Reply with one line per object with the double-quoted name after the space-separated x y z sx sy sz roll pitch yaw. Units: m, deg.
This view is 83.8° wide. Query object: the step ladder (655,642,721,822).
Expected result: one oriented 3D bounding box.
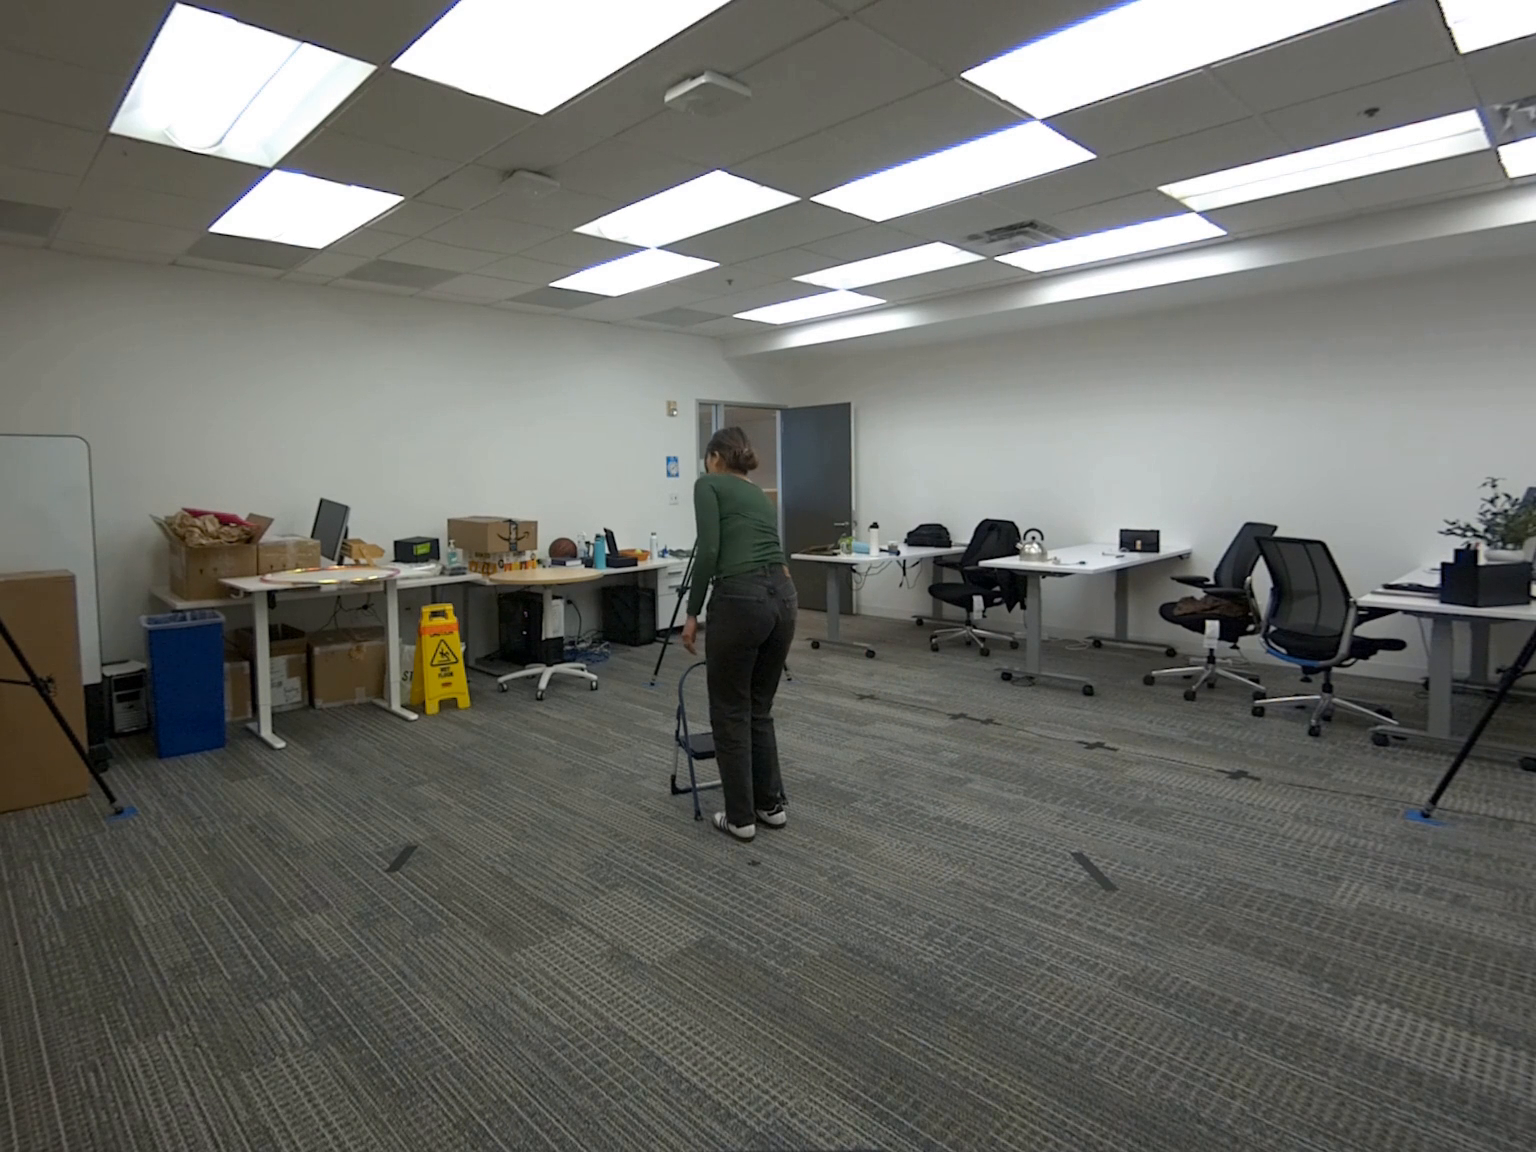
-0.184 0.676 3.727 0.421 0.604 0.358 -3 5 -26 "step ladder"
